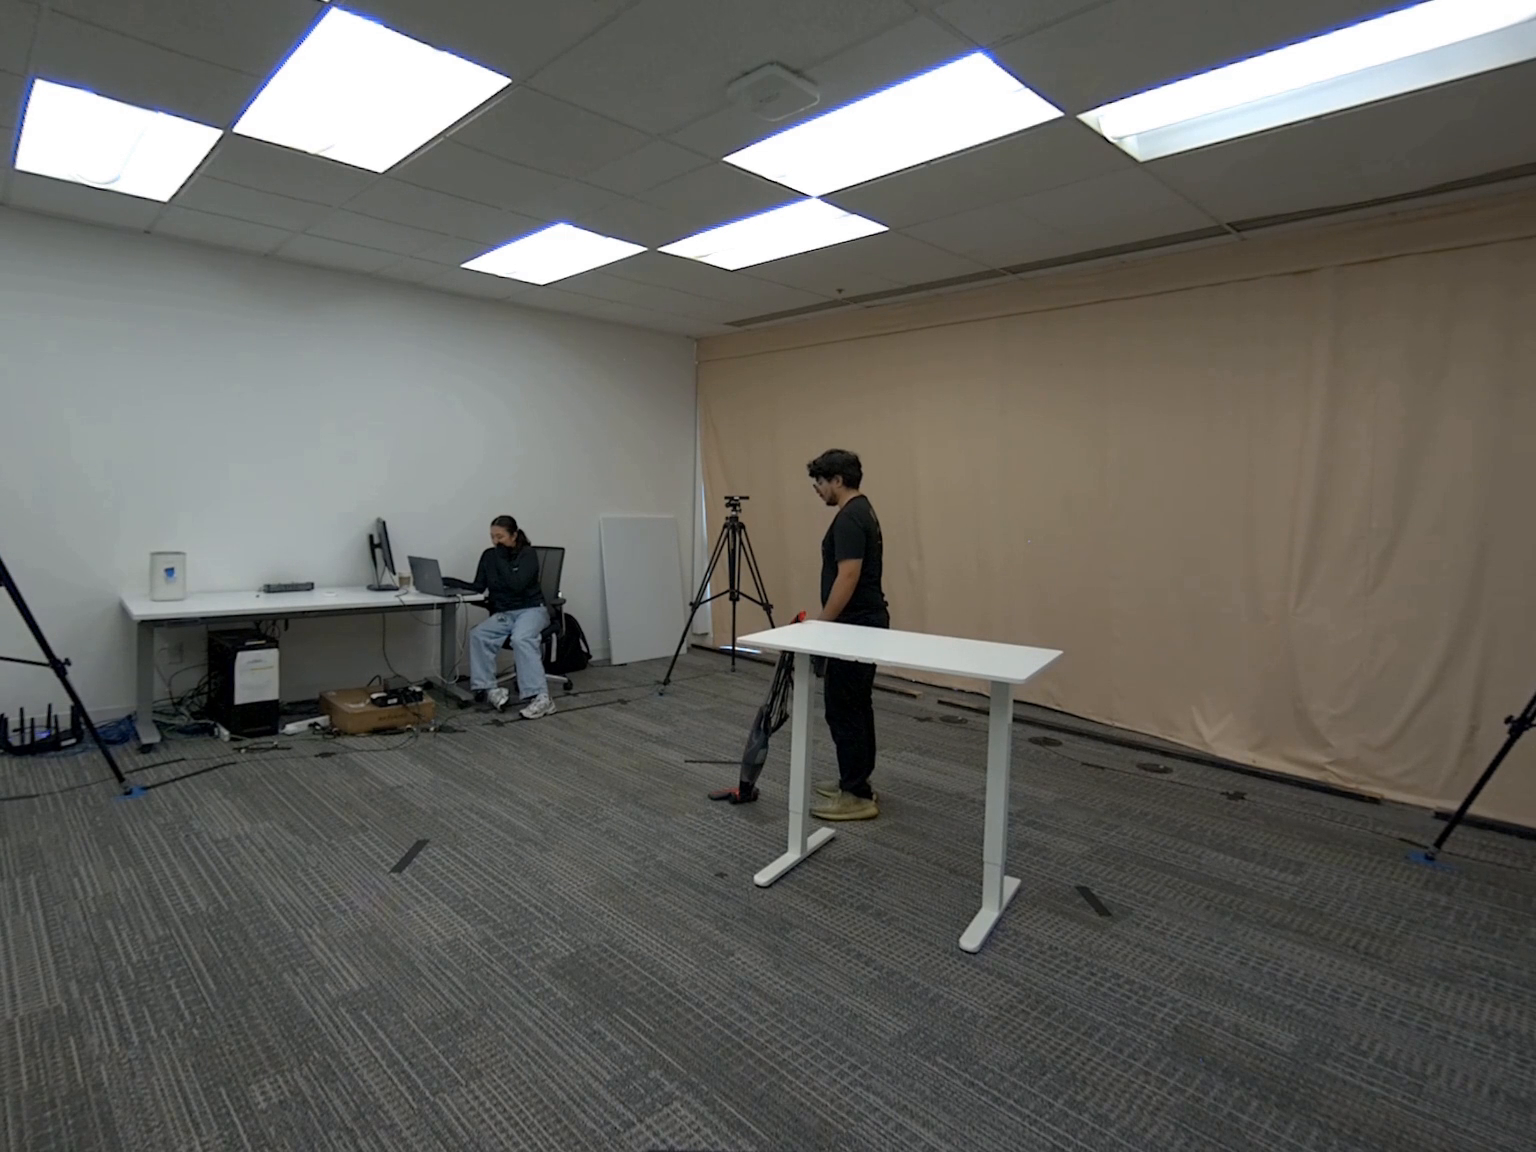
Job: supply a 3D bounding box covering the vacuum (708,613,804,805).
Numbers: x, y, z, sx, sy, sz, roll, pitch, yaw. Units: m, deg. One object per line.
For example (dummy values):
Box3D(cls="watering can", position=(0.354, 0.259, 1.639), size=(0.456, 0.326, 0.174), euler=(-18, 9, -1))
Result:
Box3D(cls="vacuum", position=(-0.004, 0.586, 3.660), size=(0.247, 1.037, 0.148), euler=(-6, 36, -38))
